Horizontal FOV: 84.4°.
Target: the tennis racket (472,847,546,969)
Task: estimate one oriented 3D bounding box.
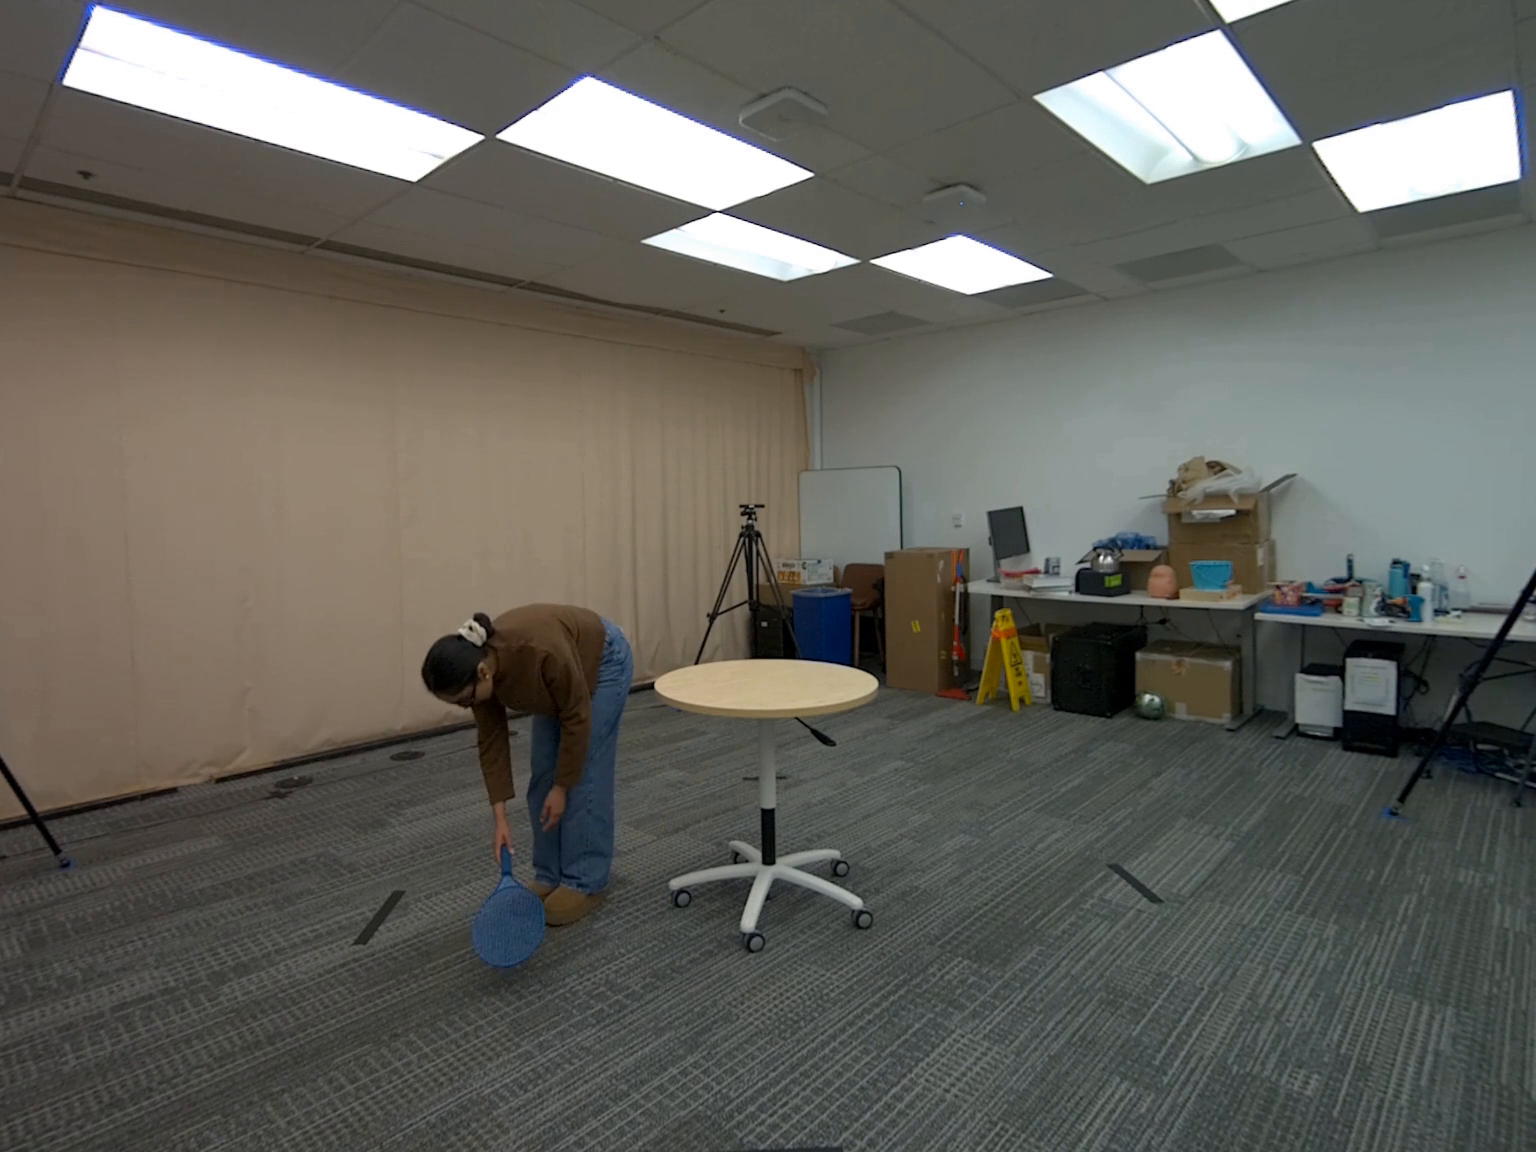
[{"bbox_3d":[-0.771,0.983,2.592,0.212,0.031,0.444,-8,35,-9],"label":"tennis racket"}]
